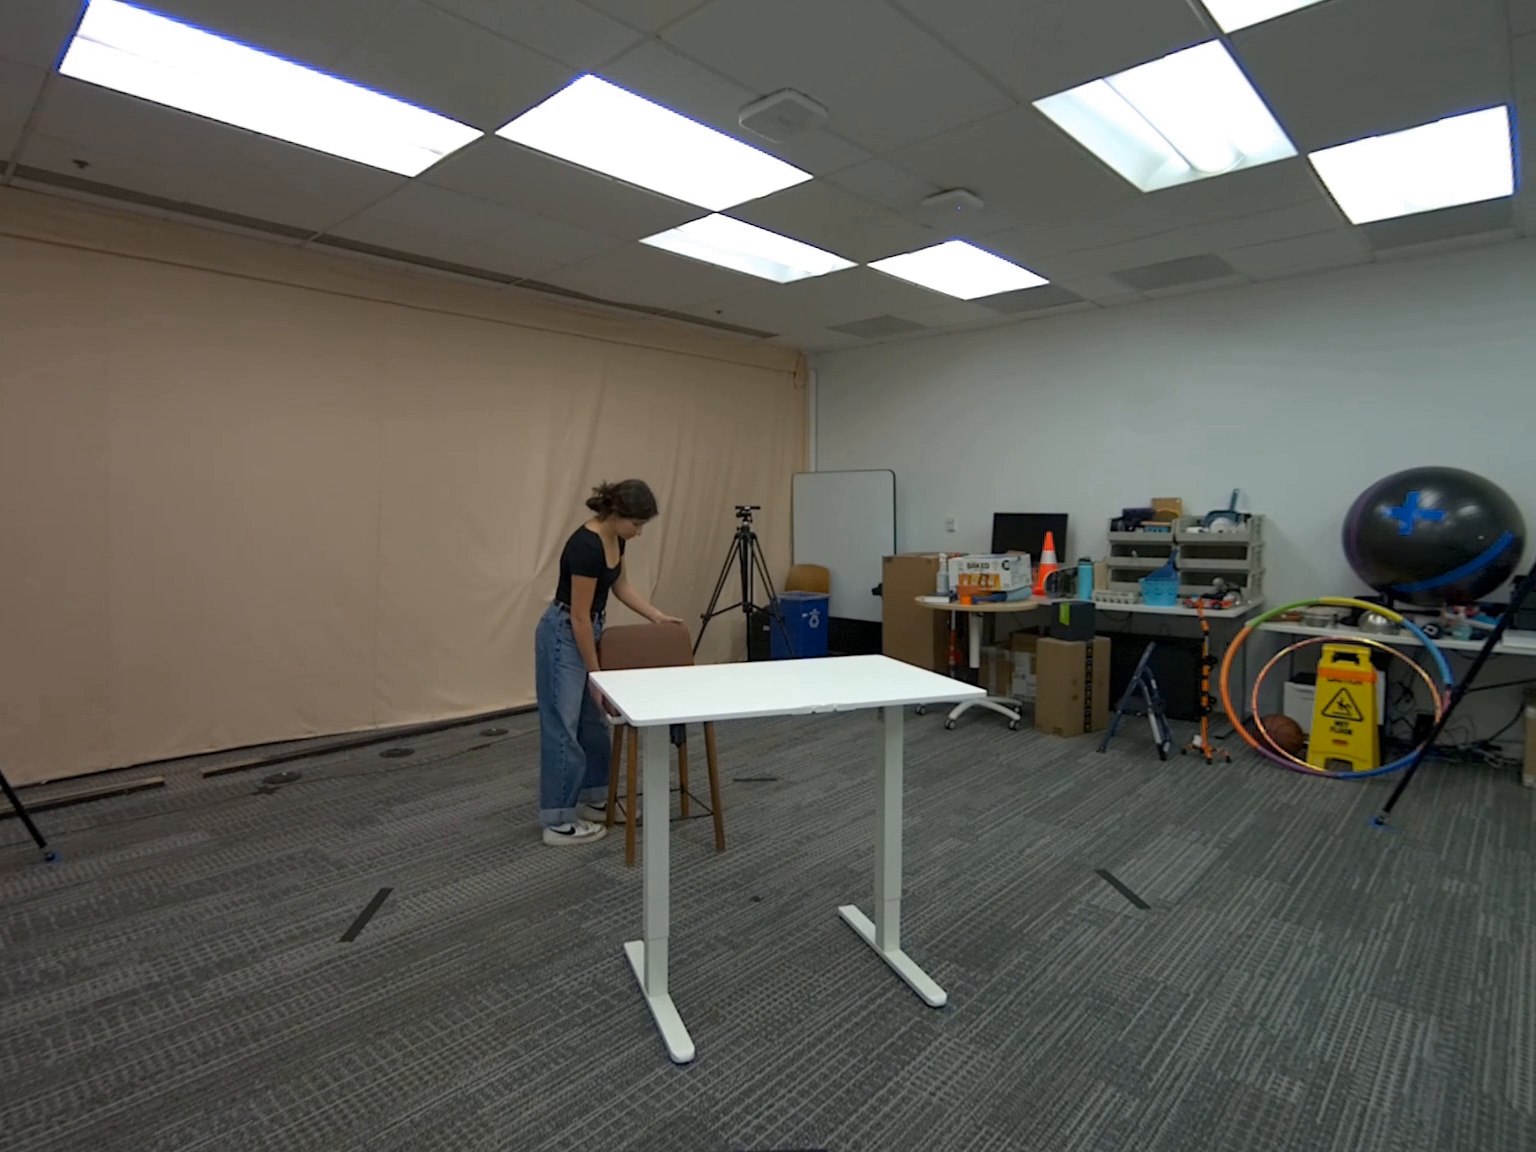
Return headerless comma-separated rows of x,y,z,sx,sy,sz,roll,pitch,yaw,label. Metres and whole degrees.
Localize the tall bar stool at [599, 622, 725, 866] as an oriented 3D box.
-0.451,0.665,3.517,0.447,0.889,0.478,-2,1,-21,tall bar stool
